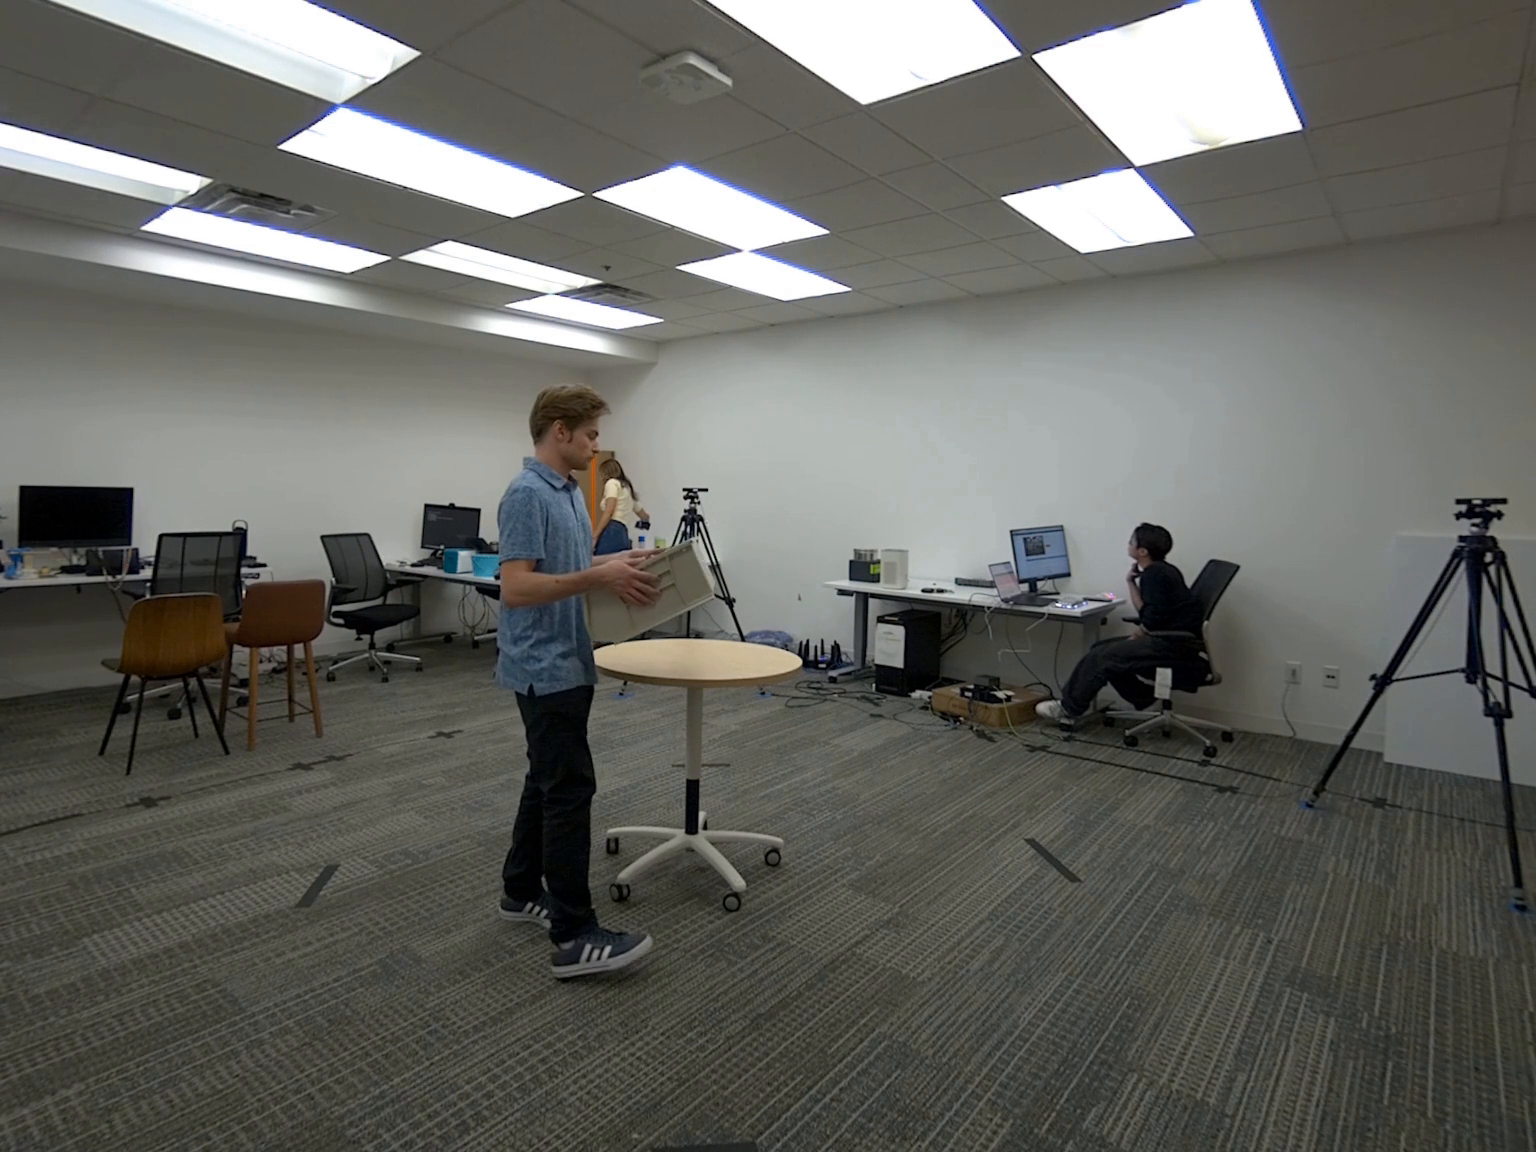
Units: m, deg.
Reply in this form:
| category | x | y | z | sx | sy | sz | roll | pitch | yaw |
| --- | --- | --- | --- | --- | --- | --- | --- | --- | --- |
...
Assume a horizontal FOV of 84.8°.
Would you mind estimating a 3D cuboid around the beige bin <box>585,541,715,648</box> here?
| category | x | y | z | sx | sy | sz | roll | pitch | yaw |
| --- | --- | --- | --- | --- | --- | --- | --- | --- | --- |
| beige bin | -0.361 | 0.059 | 2.596 | 0.377 | 0.190 | 0.420 | -25 | -1 | 0 |
